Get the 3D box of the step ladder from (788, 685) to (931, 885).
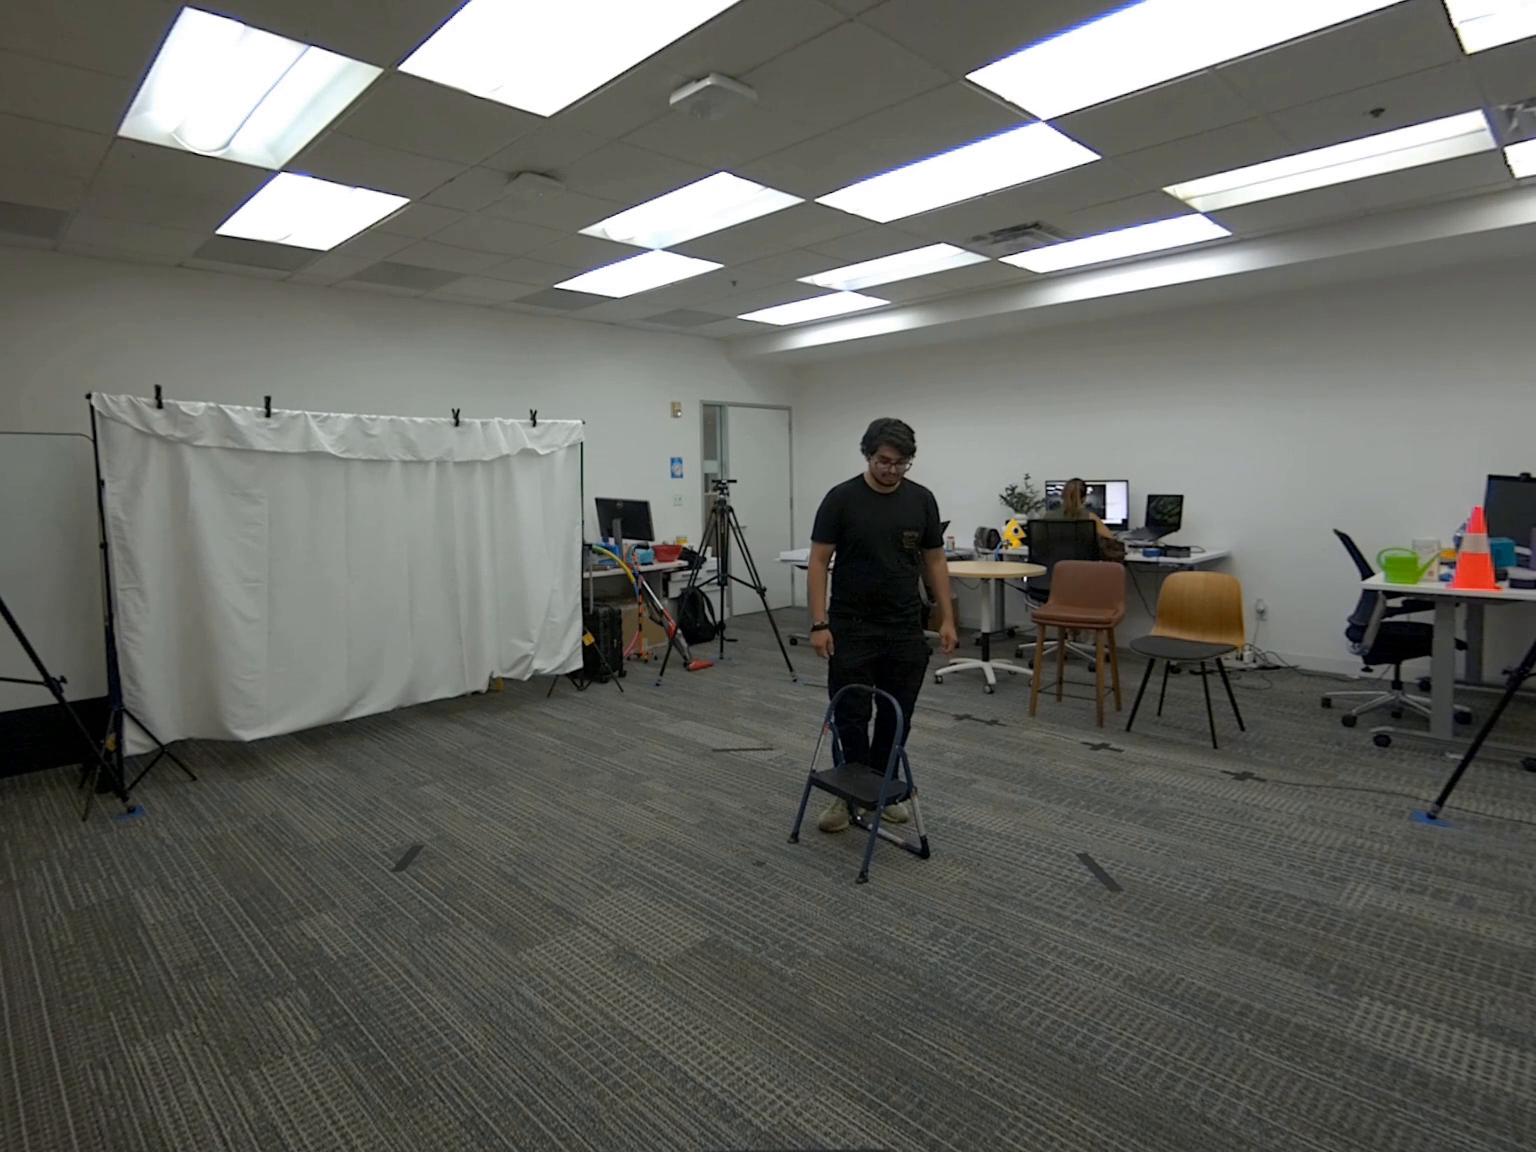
[{"bbox_3d":[0.332,0.730,3.189,0.340,0.604,0.443,-3,5,-33],"label":"step ladder"}]
